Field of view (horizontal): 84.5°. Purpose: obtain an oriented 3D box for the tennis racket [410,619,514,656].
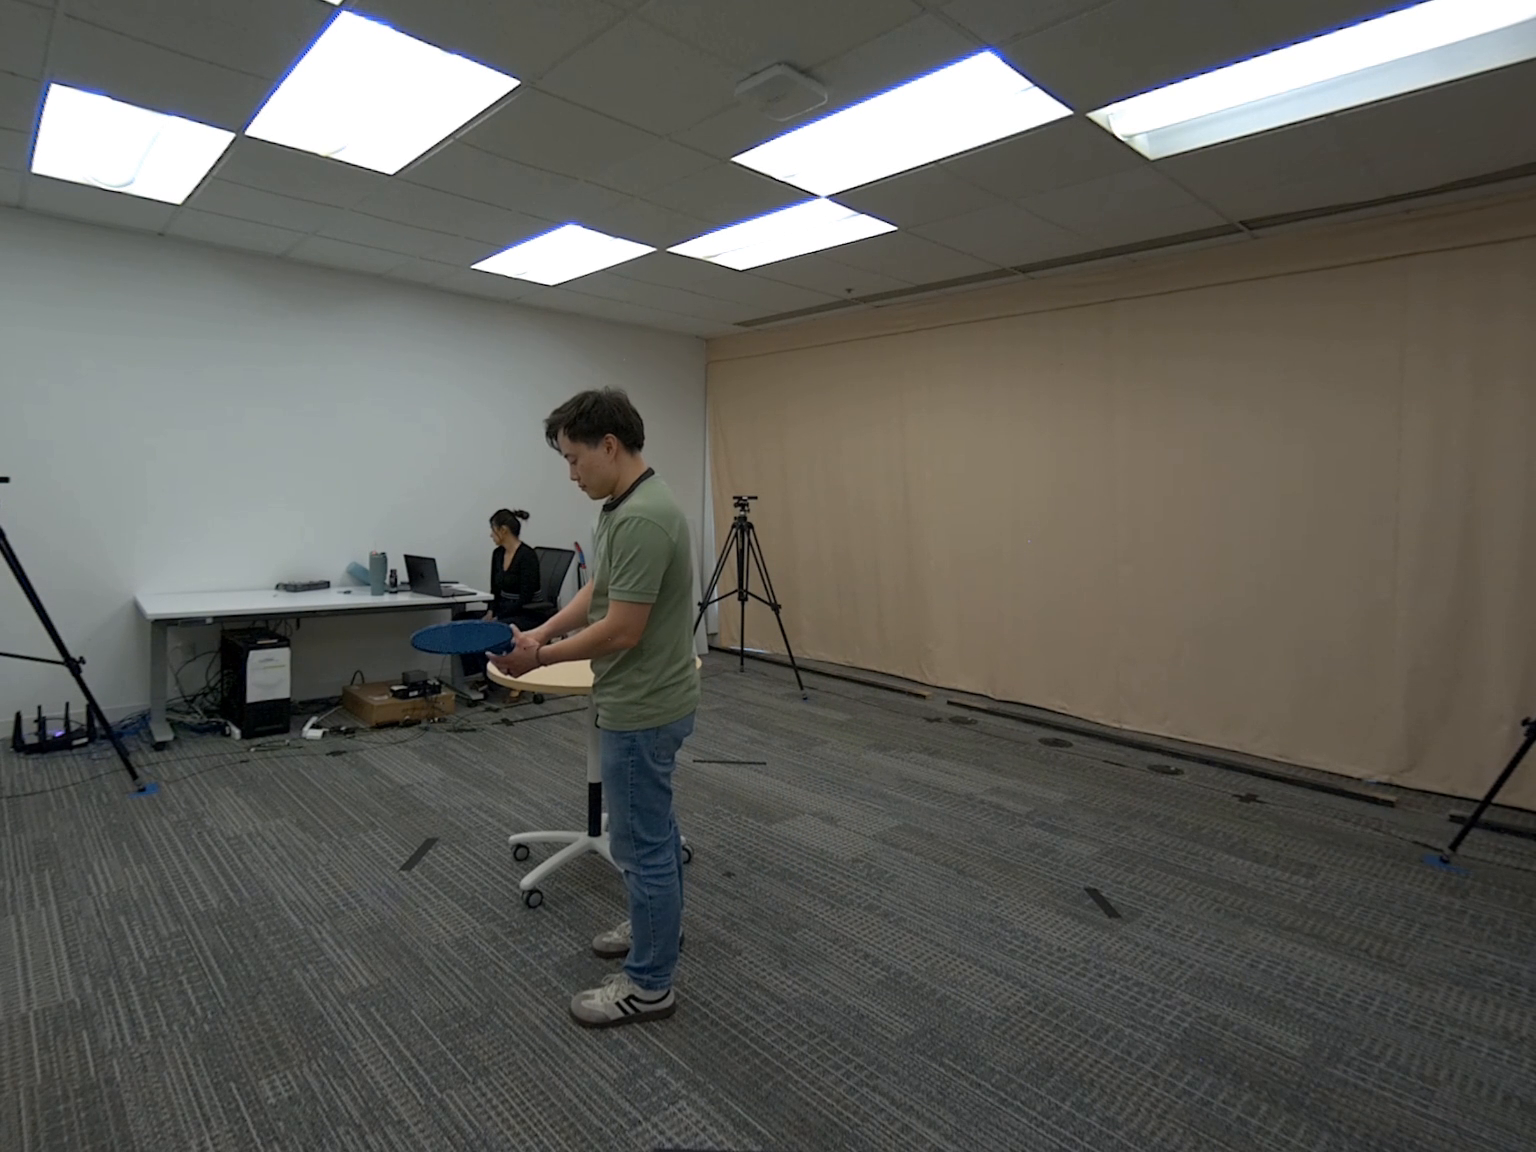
[{"bbox_3d":[-0.696,0.168,2.070,0.215,0.032,0.422,-21,-21,16],"label":"tennis racket"}]
